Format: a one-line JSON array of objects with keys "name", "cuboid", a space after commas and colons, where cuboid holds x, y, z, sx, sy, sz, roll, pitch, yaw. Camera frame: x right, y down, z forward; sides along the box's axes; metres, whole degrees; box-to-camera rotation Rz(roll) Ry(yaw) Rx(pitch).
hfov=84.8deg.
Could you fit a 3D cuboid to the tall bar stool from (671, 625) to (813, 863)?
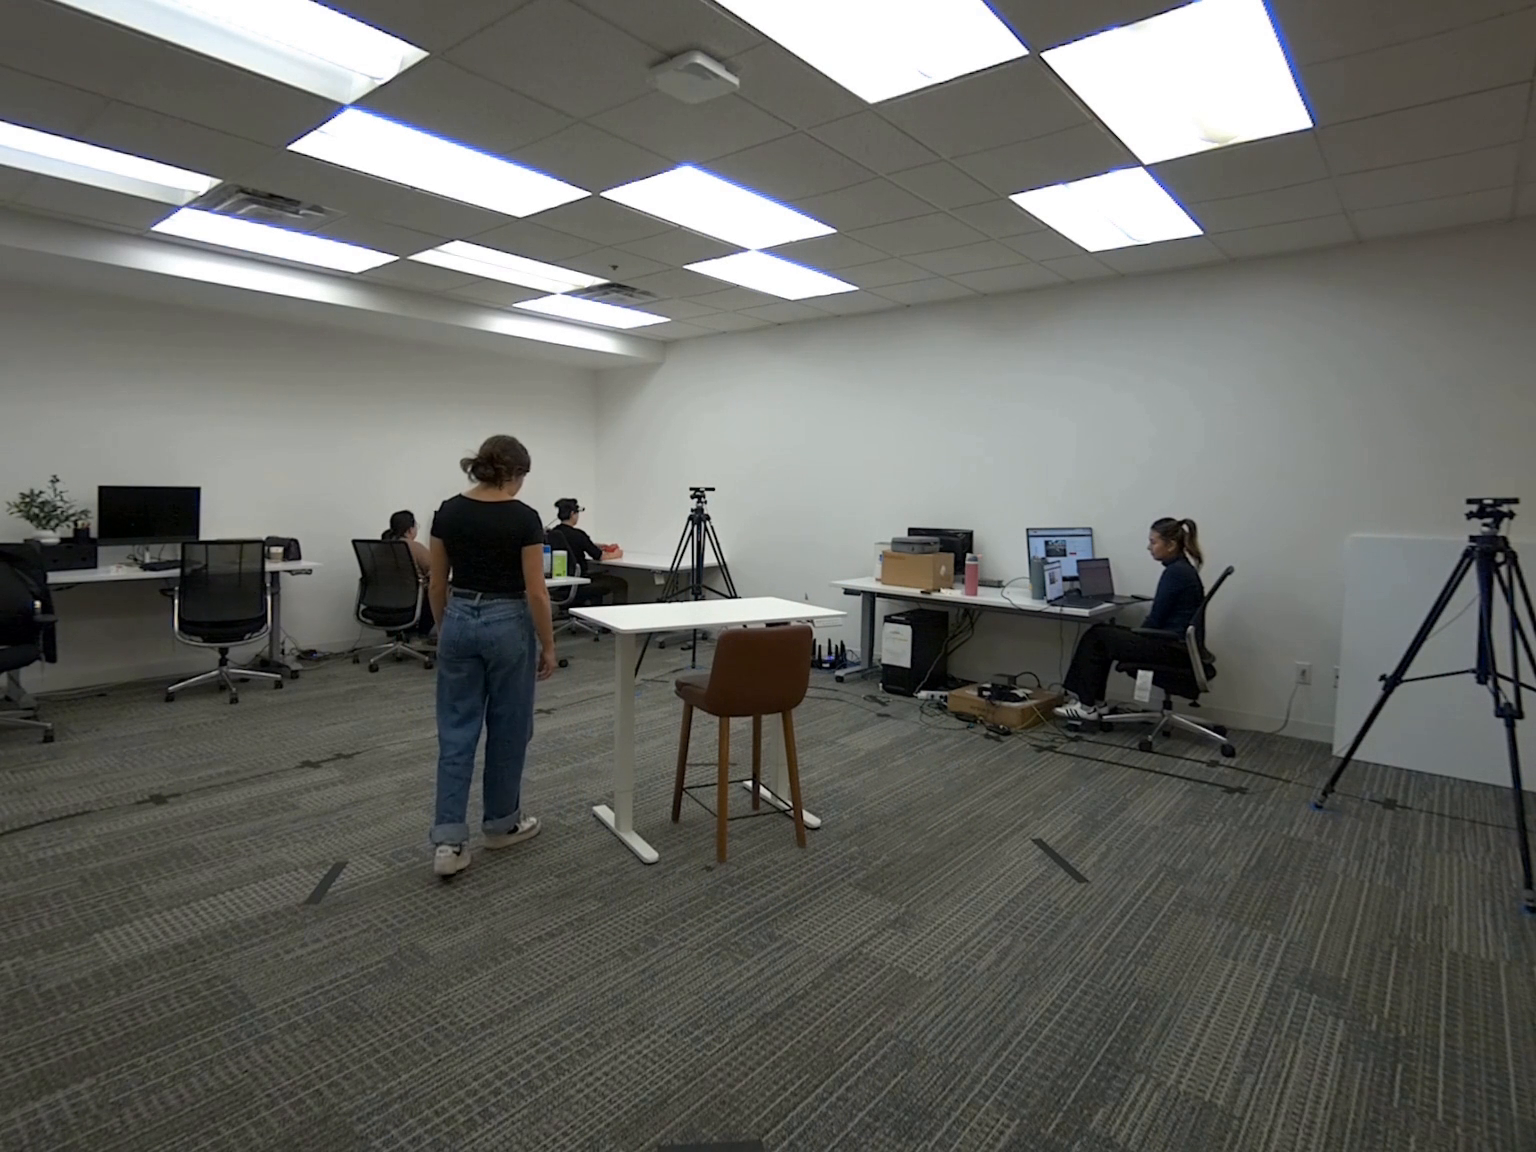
[{"name": "tall bar stool", "cuboid": [-0.123, 0.613, 3.413, 0.445, 0.886, 0.481, -1, 5, -27]}]
